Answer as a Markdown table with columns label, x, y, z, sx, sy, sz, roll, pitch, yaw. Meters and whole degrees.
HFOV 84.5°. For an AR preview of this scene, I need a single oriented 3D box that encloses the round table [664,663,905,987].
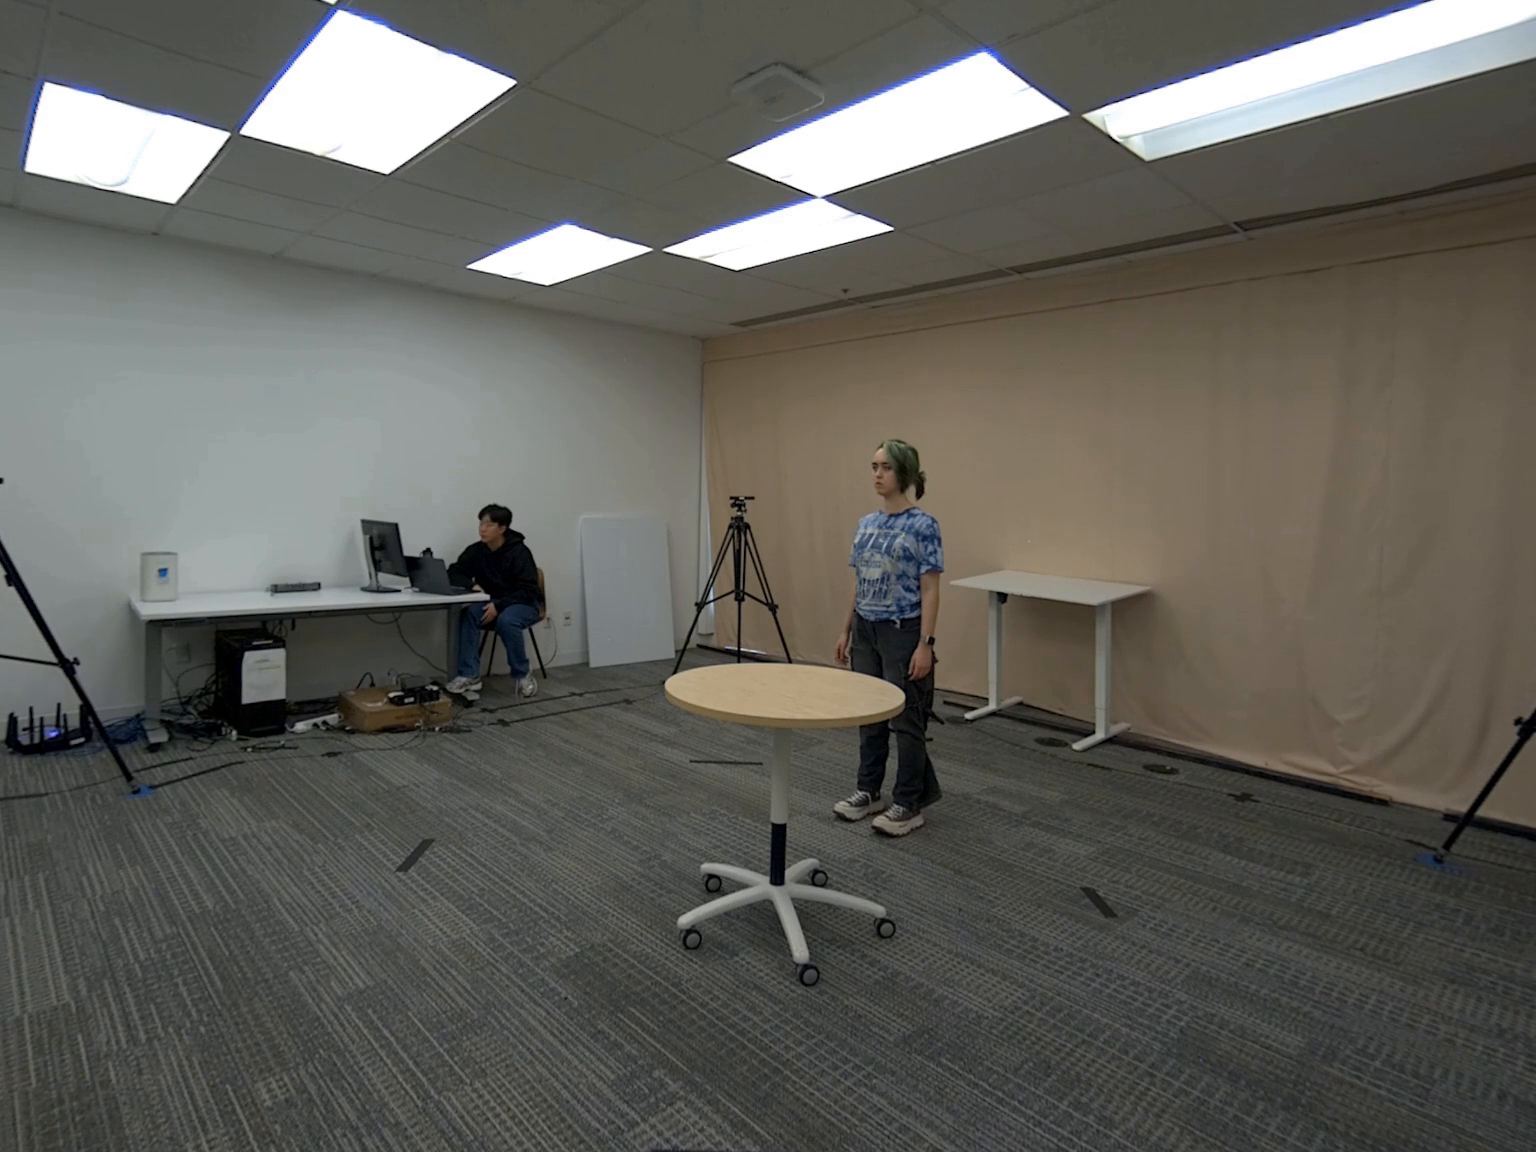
| label | x | y | z | sx | sy | sz | roll | pitch | yaw |
| --- | --- | --- | --- | --- | --- | --- | --- | --- | --- |
| round table | 0.031 | 0.752 | 2.730 | 0.763 | 0.792 | 0.767 | 2 | 4 | -2 |
